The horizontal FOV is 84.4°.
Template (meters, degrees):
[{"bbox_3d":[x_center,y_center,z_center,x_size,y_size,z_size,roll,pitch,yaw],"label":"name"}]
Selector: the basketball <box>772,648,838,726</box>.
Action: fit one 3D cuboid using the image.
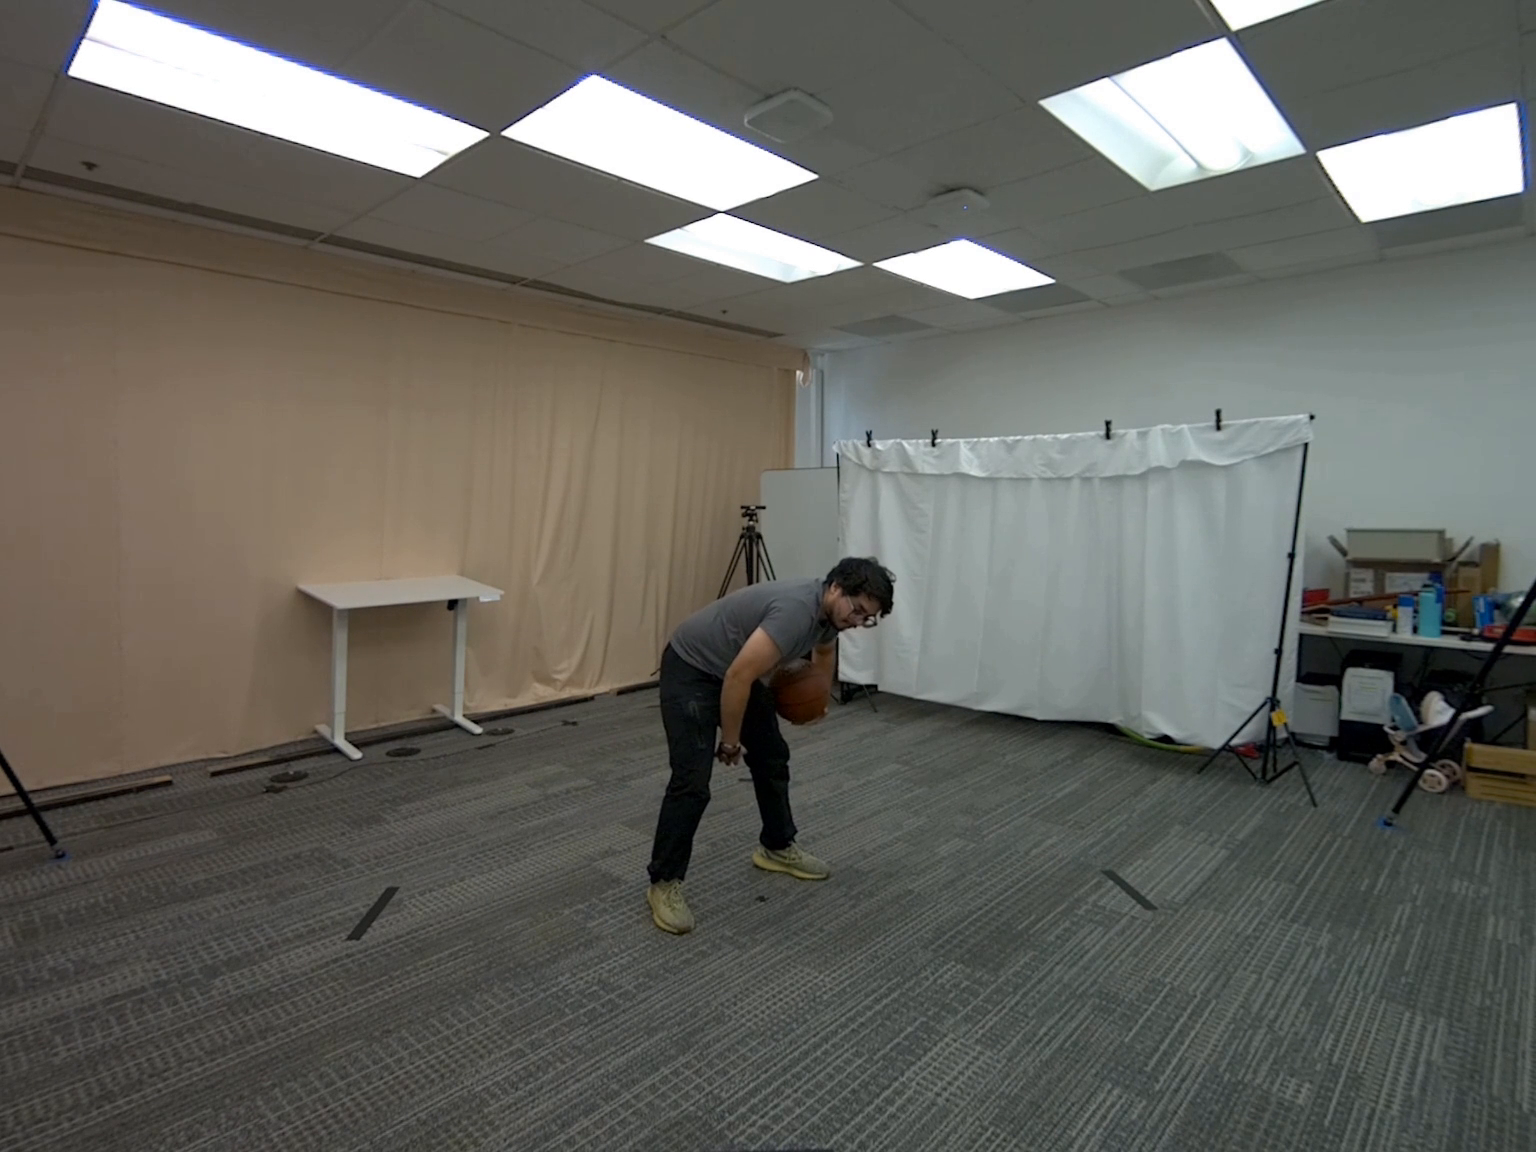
[{"bbox_3d":[0.114,0.443,3.203,0.236,0.235,0.237,0,4,-2],"label":"basketball"}]
